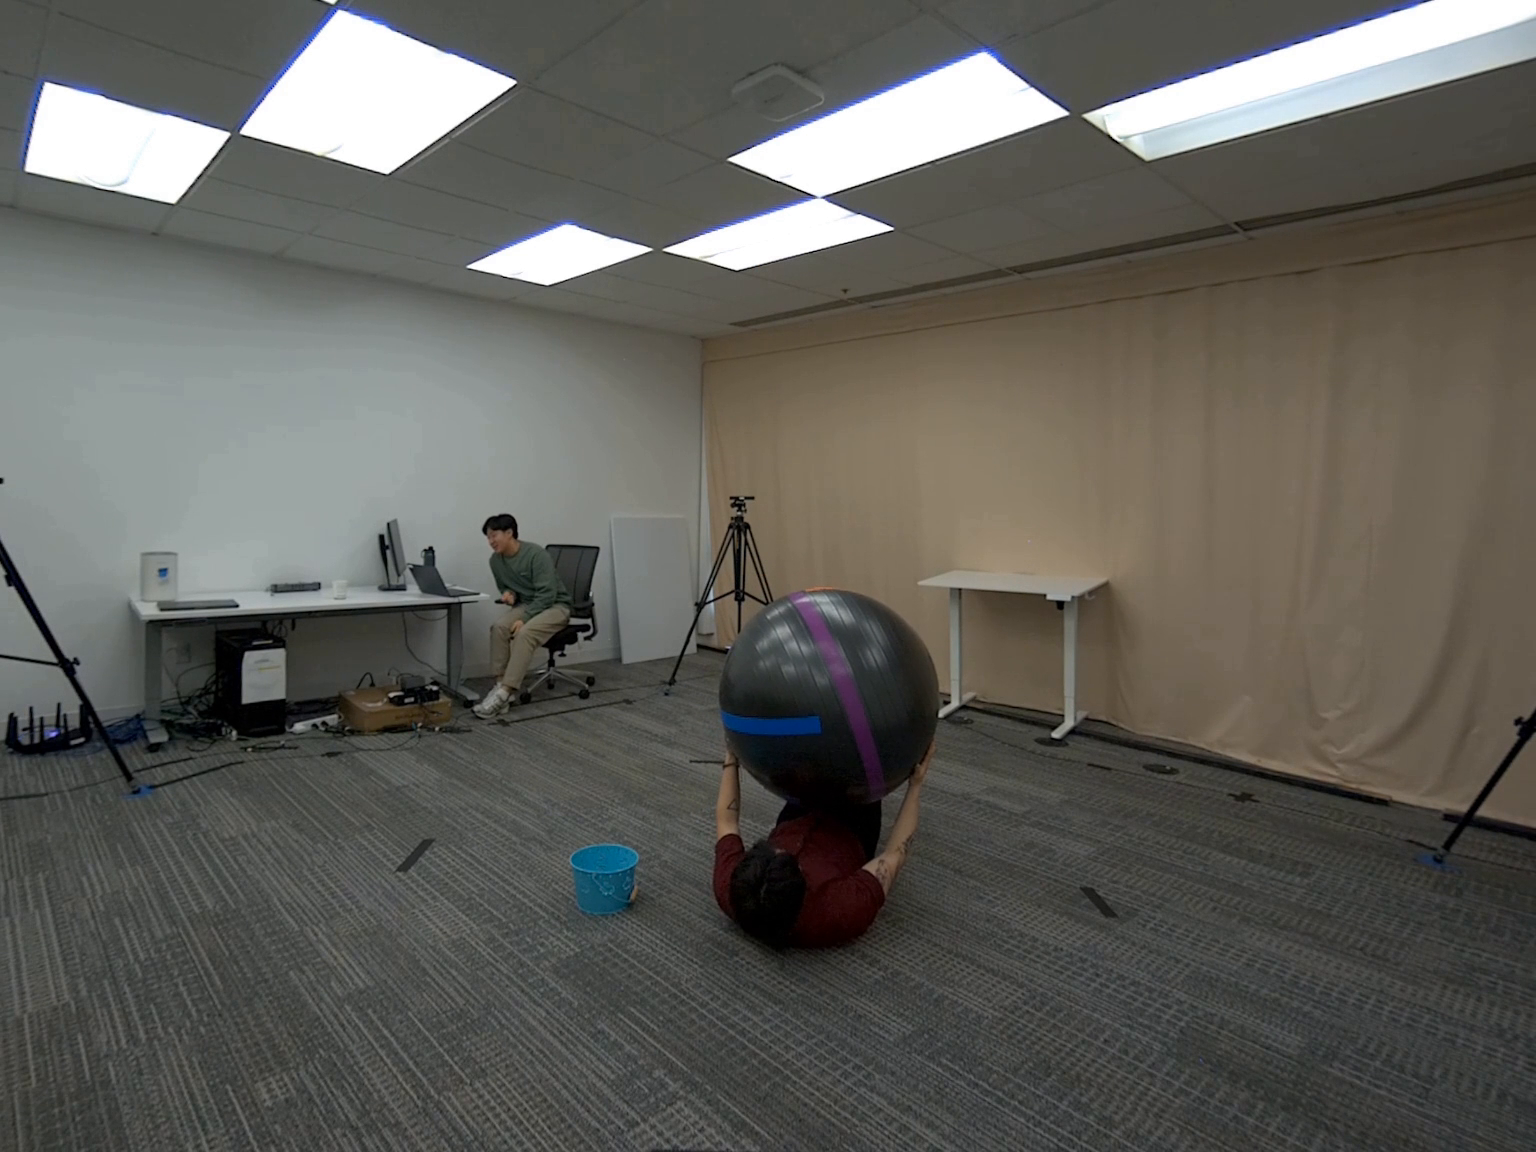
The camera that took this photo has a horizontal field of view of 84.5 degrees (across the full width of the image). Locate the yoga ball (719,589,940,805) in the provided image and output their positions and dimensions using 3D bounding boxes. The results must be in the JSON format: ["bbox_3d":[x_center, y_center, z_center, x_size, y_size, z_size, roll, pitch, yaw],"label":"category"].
[{"bbox_3d":[0.205,0.423,2.947,0.757,0.756,0.761,1,4,-1],"label":"yoga ball"}]
